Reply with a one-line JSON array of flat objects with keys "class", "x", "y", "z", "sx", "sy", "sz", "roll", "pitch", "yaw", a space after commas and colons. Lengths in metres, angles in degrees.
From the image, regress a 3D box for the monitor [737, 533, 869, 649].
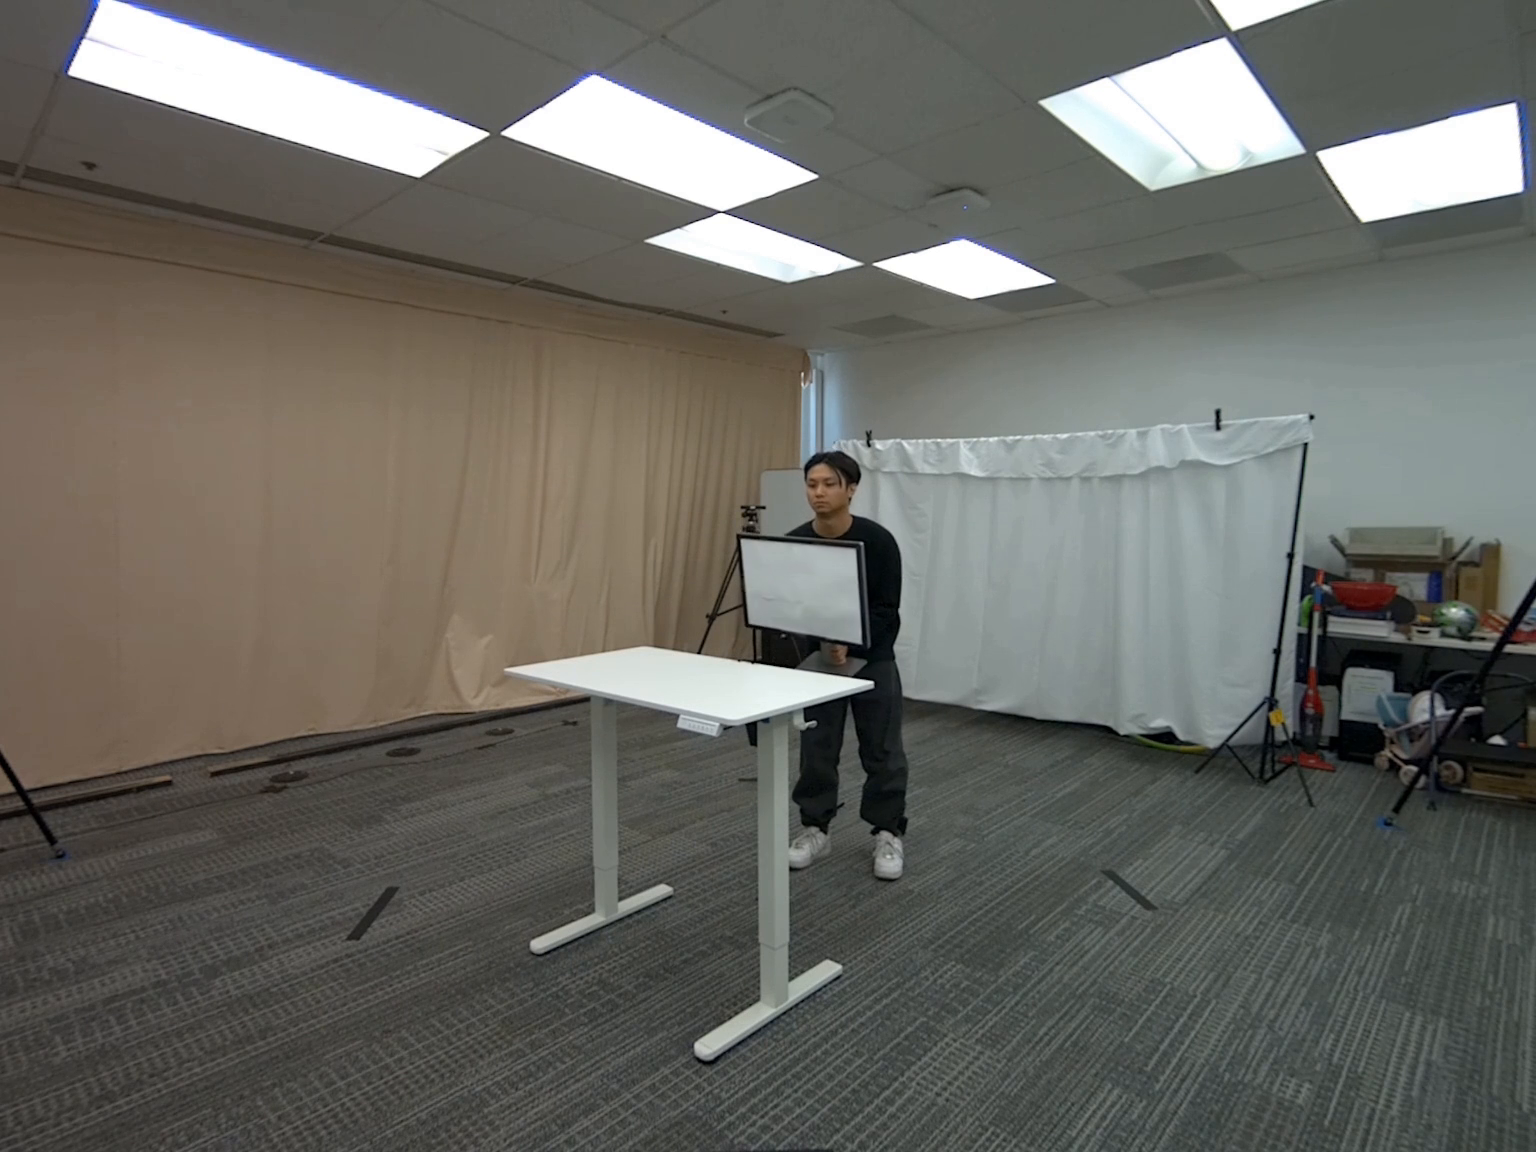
[{"class": "monitor", "x": 0.154, "y": 0.109, "z": 3.023, "sx": 0.548, "sy": 0.505, "sz": 0.172, "roll": 8, "pitch": 36, "yaw": 45}]
